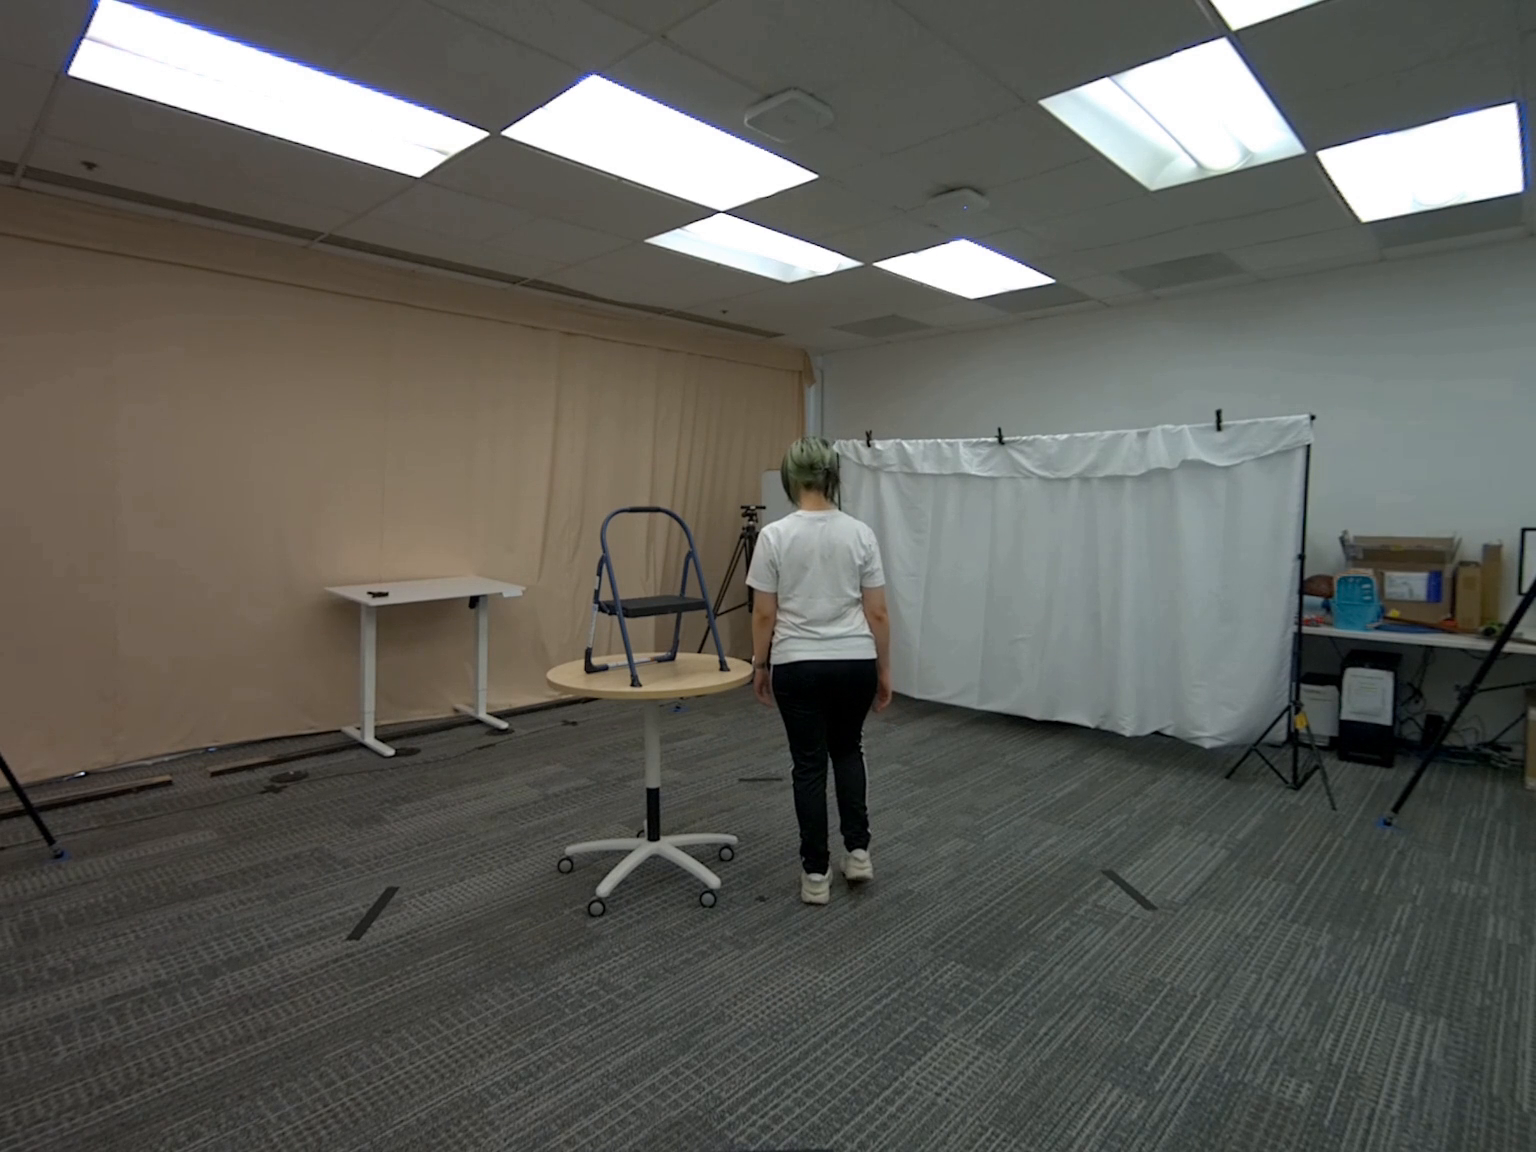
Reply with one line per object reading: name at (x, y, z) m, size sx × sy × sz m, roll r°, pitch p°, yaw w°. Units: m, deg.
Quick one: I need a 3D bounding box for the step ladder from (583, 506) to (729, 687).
step ladder at (-0.414, 0.054, 3.076) m, size 0.417 × 0.605 × 0.361 m, roll -3°, pitch 4°, yaw -42°
